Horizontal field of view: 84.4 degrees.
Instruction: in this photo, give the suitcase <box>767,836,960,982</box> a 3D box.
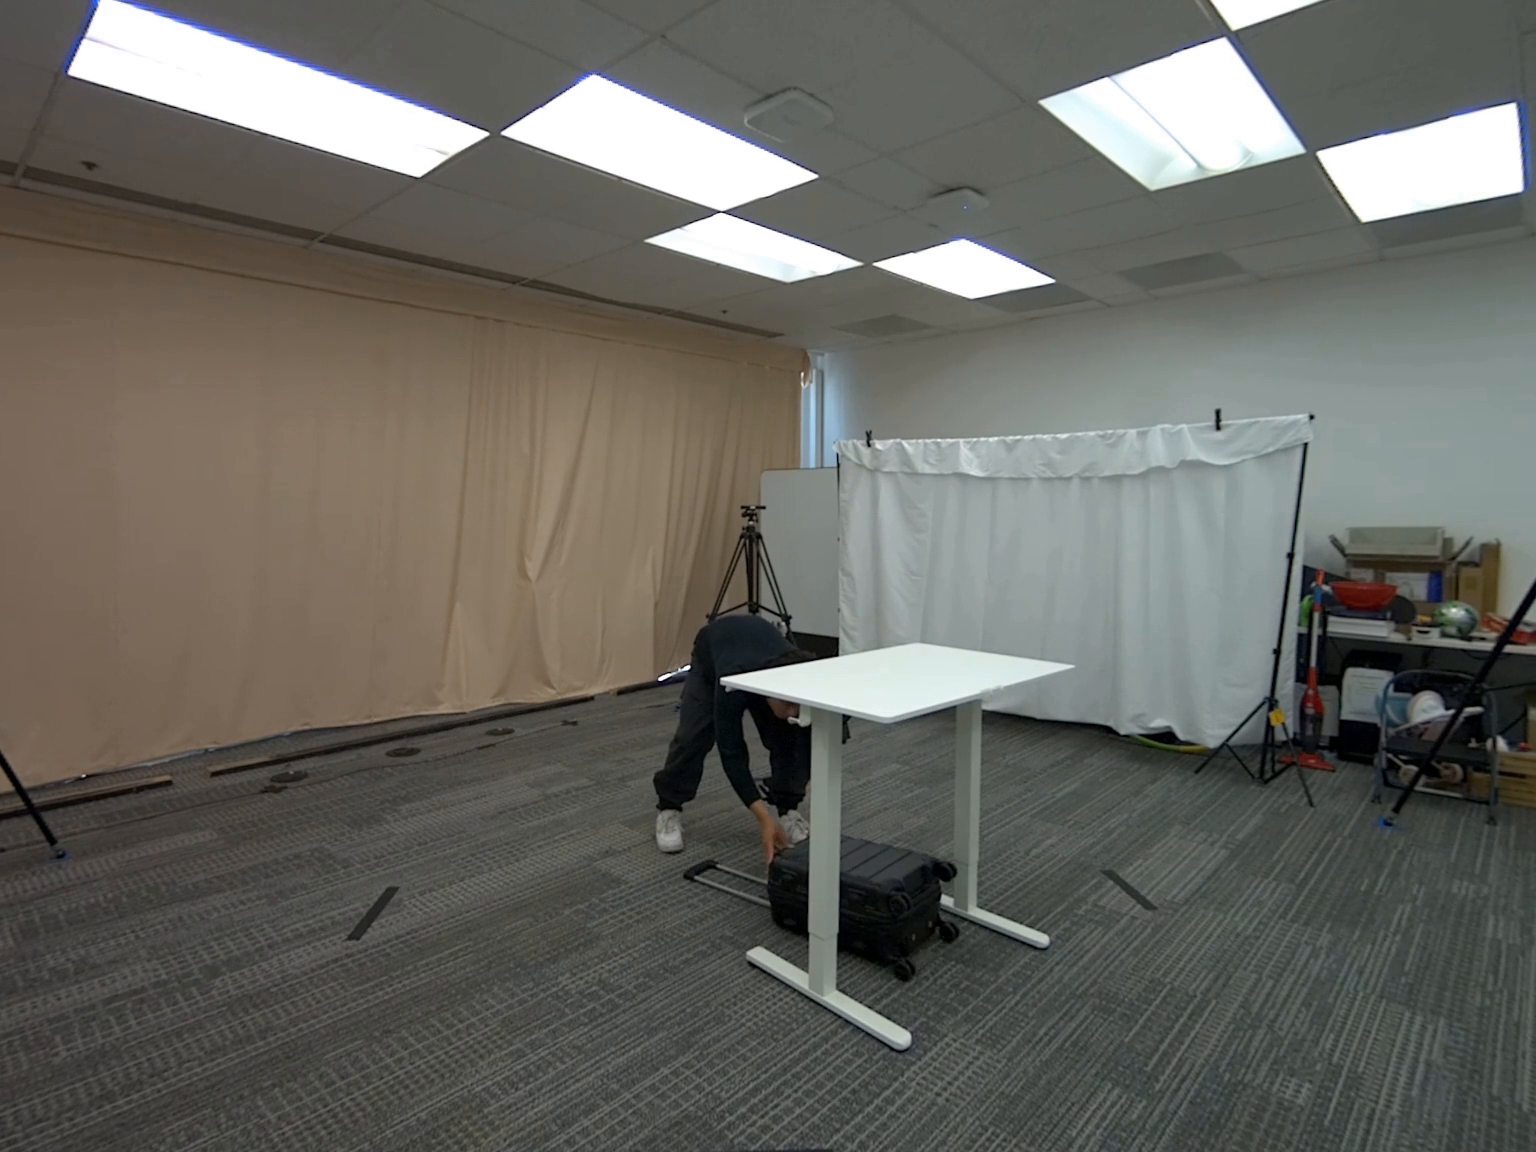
[{"bbox_3d":[0.130,1.025,2.885,1.011,0.256,0.373,3,6,39],"label":"suitcase"}]
